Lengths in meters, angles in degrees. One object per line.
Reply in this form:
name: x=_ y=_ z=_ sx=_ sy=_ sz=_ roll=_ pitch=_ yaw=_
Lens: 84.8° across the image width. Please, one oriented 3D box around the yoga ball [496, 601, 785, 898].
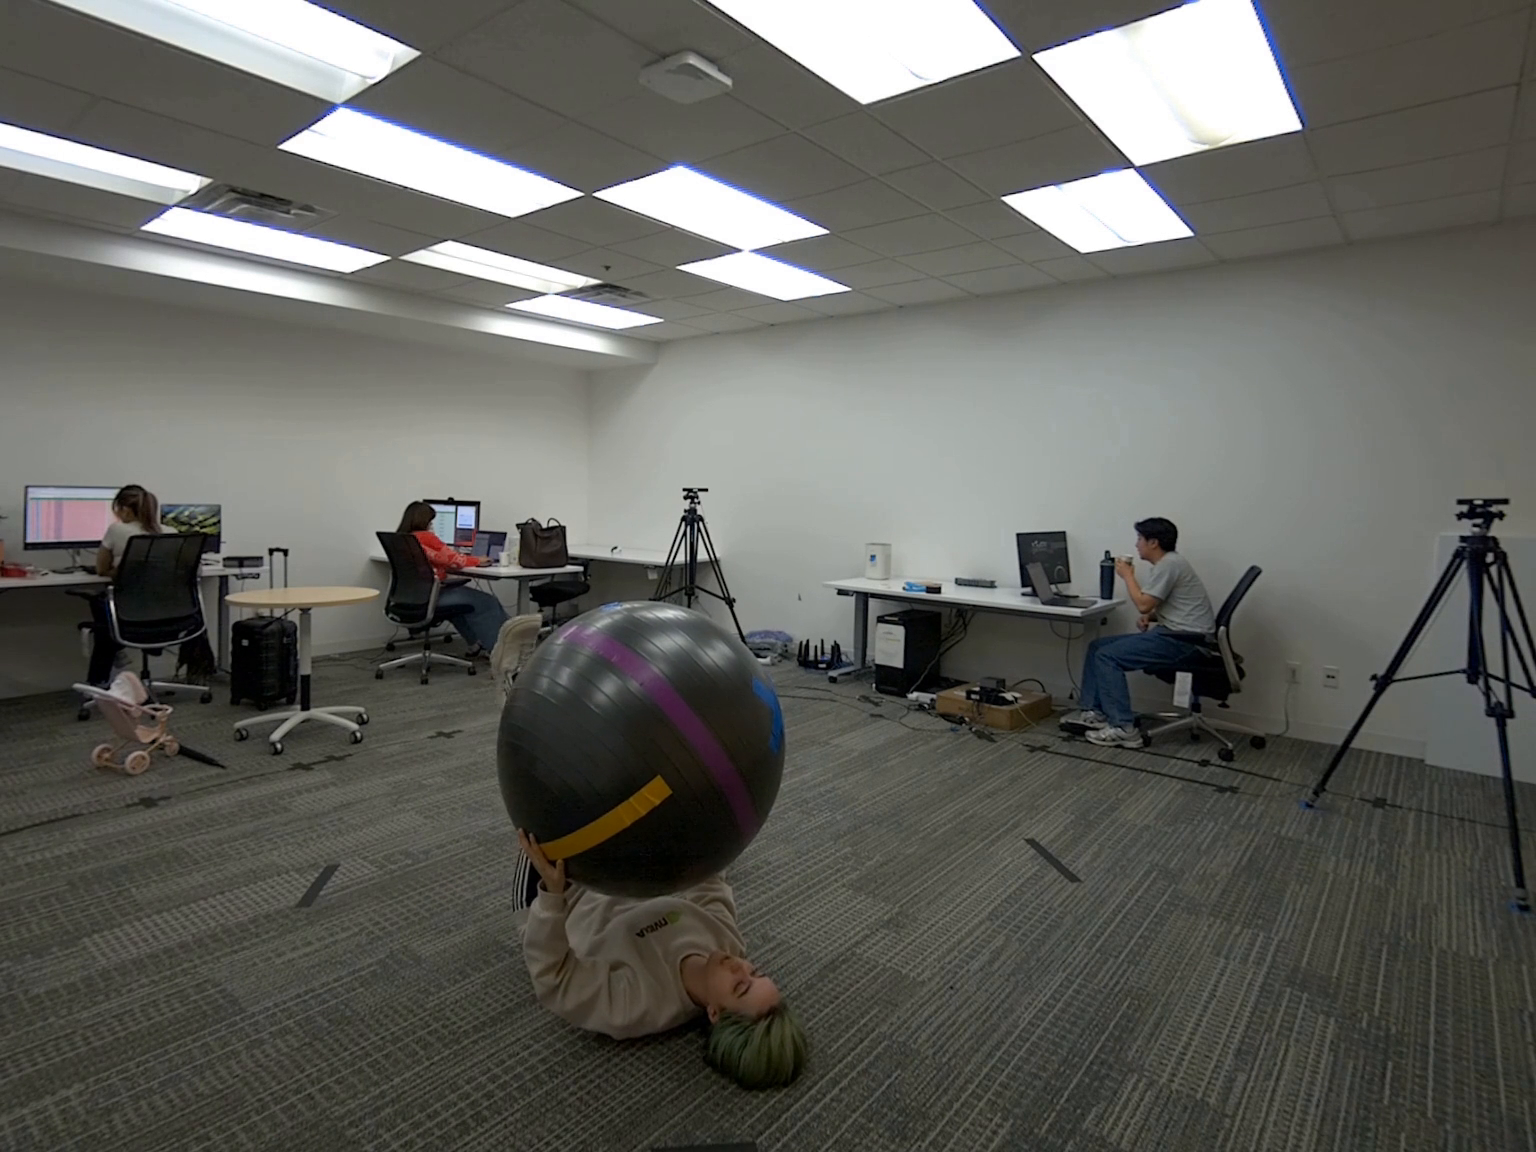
yoga ball: x=-0.329 y=0.446 z=2.250 sx=0.757 sy=0.755 sz=0.762 roll=1 pitch=4 yaw=-2
